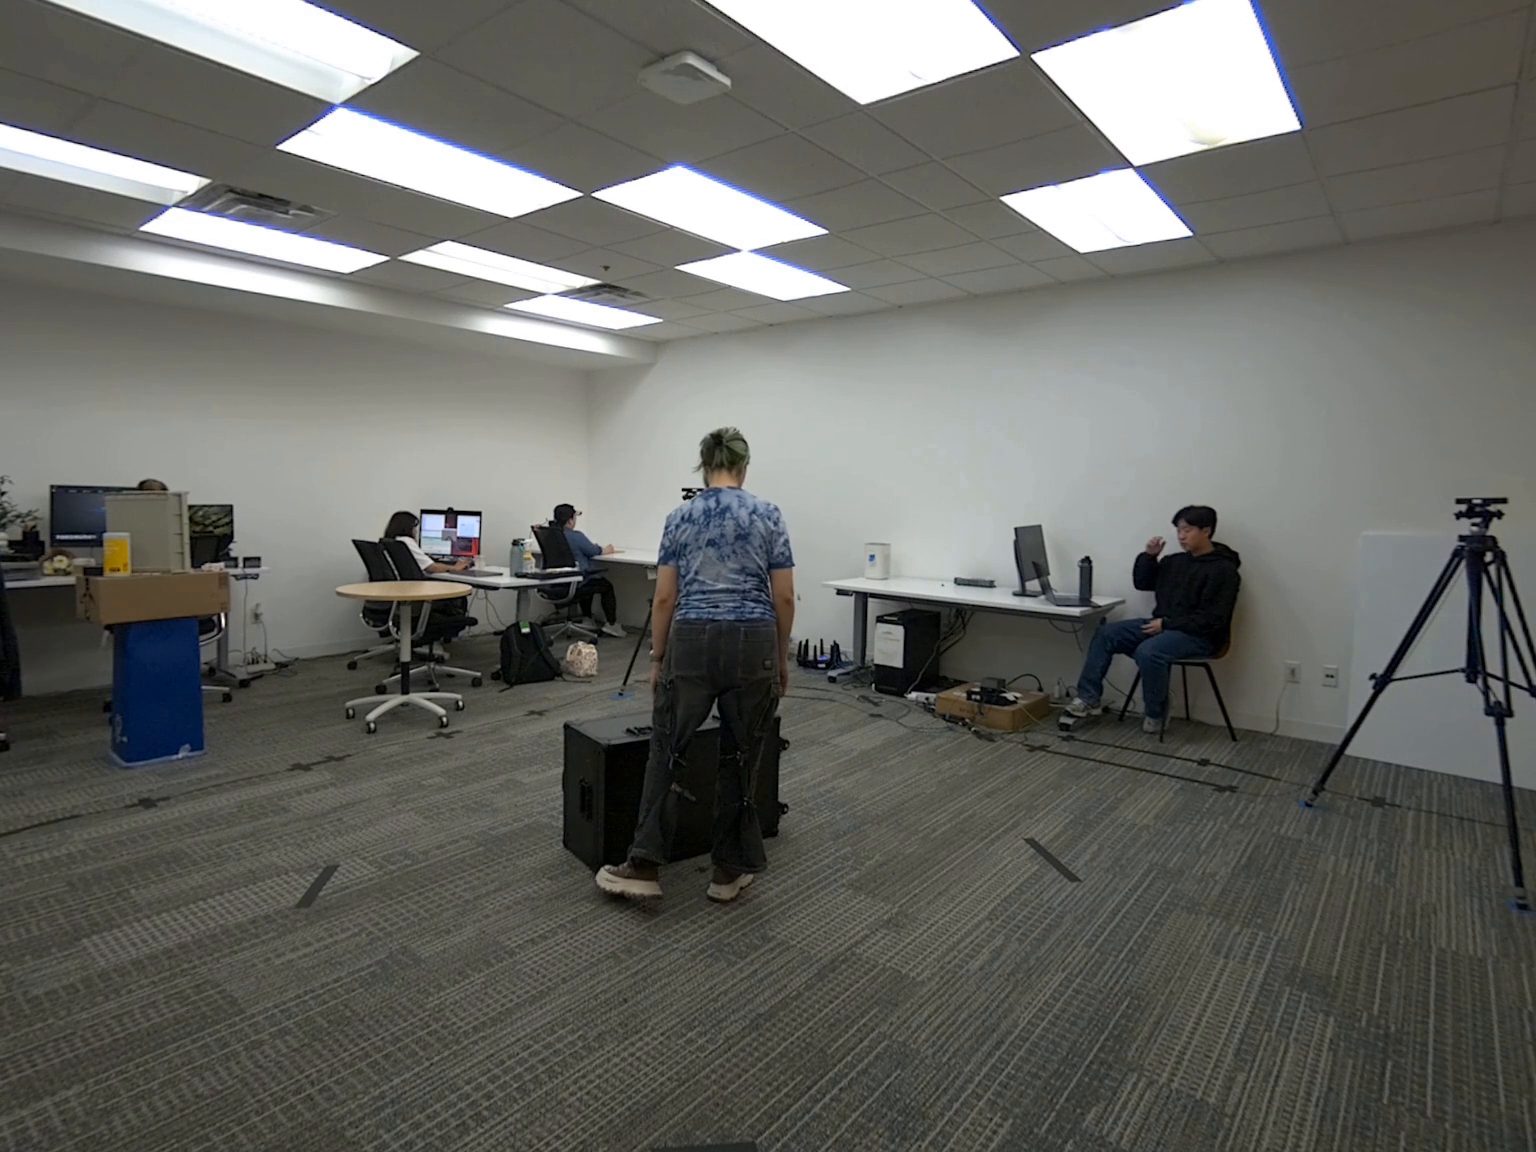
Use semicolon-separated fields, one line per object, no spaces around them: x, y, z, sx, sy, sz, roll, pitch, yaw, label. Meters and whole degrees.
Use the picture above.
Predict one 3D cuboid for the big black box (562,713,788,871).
-0.364;0.798;3.374;0.837;0.520;0.409;-2;4;-34;big black box
